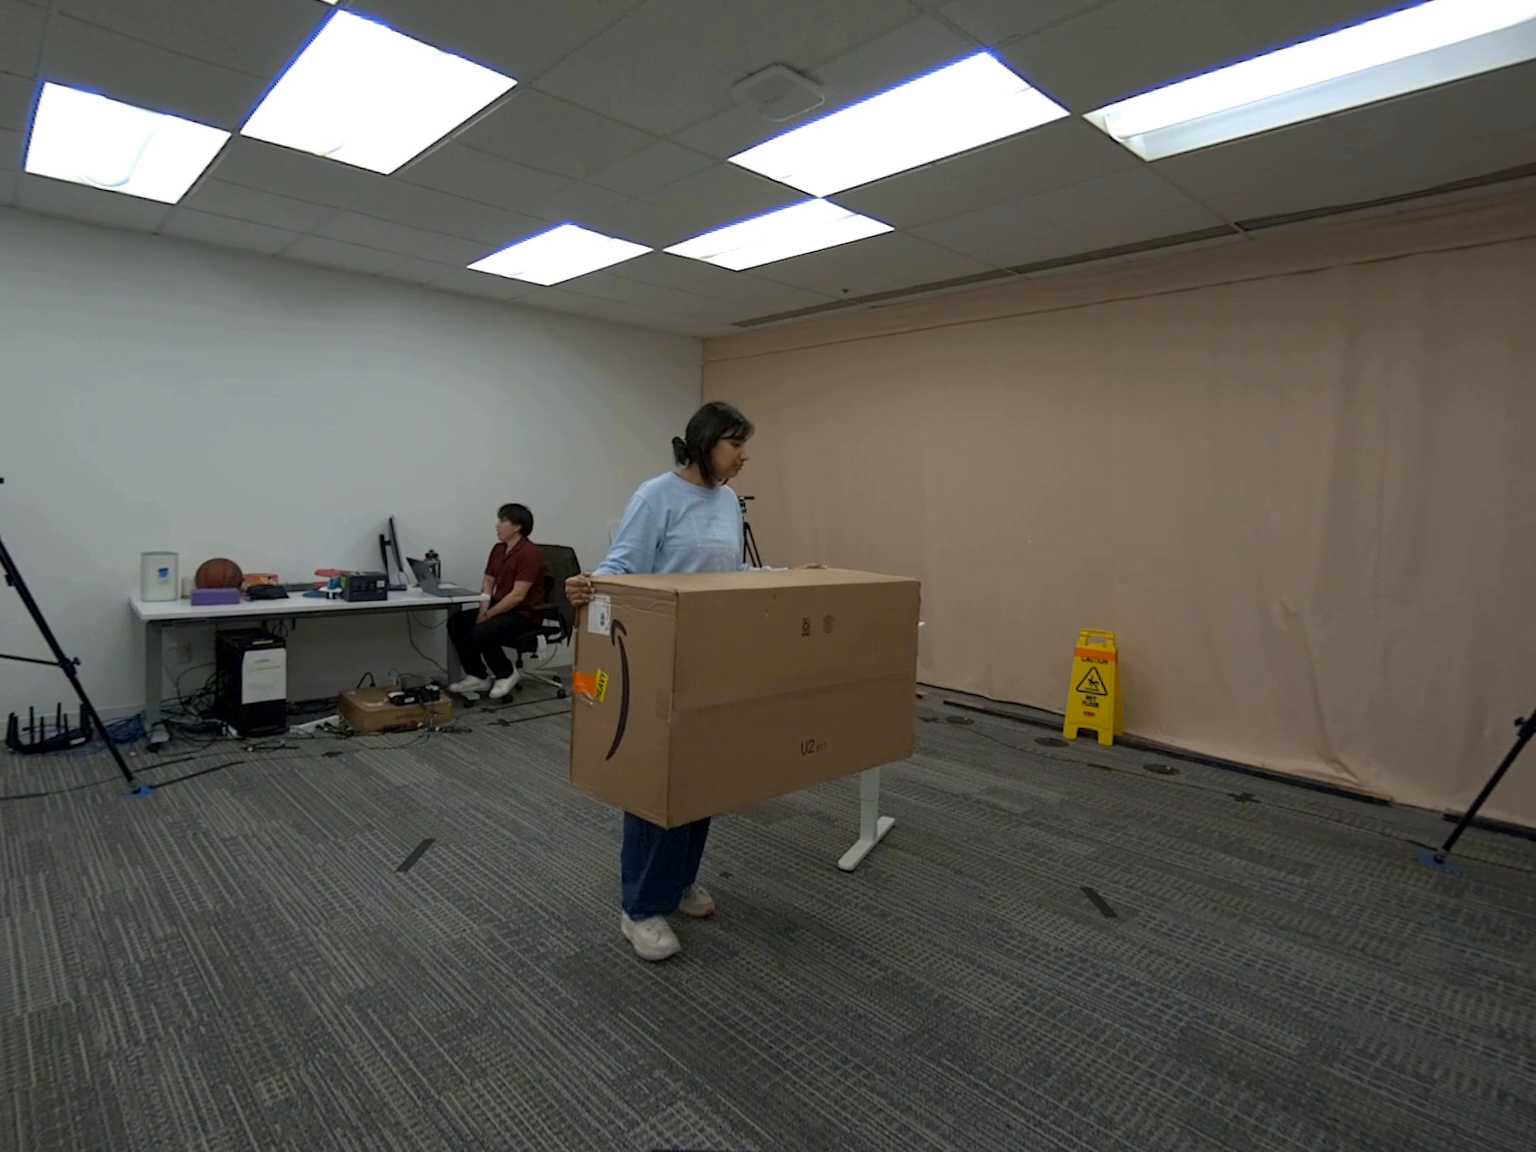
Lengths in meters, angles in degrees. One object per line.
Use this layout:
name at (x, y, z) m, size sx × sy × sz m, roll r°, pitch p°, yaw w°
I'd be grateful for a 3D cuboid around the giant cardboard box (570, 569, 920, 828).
giant cardboard box at (-0.031, 0.294, 2.490) m, size 1.002 × 0.576 × 0.437 m, roll -2°, pitch 4°, yaw -45°
